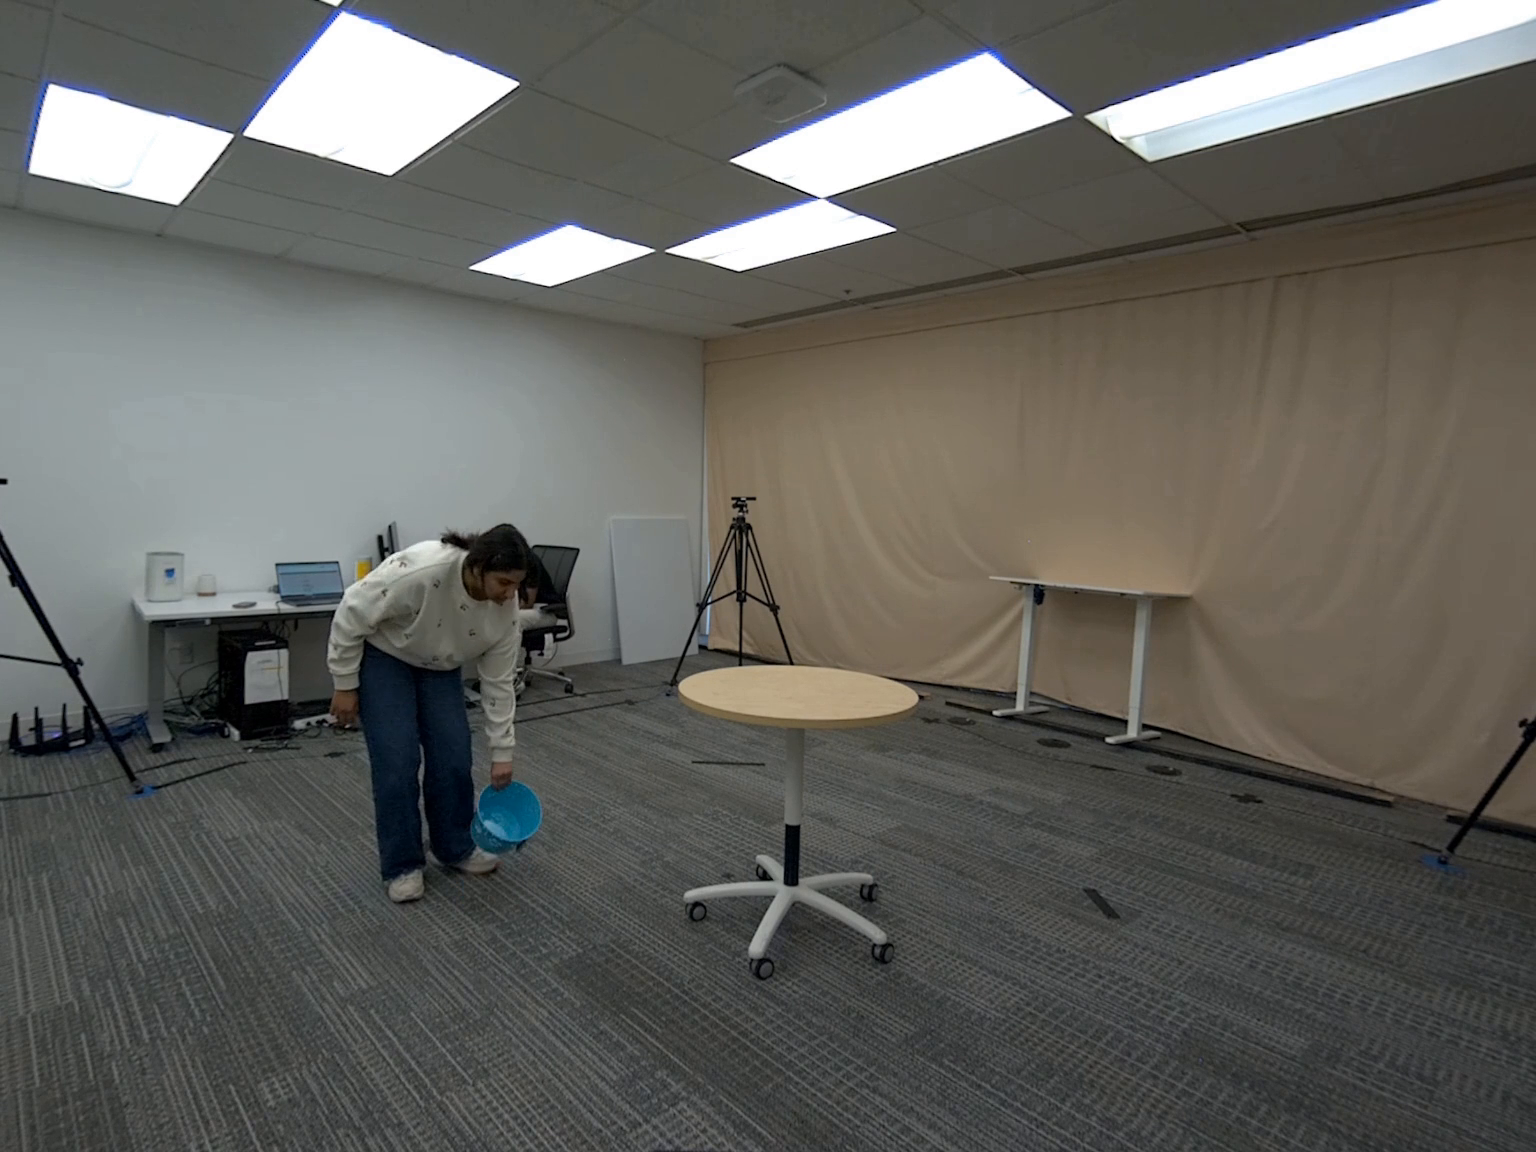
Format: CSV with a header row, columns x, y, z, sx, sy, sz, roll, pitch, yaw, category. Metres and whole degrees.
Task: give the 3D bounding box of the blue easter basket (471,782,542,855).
x,y,z,sx,sy,sz,roll,pitch,yaw,category
-0.952,0.867,2.952,0.239,0.155,0.249,24,36,-21,blue easter basket
